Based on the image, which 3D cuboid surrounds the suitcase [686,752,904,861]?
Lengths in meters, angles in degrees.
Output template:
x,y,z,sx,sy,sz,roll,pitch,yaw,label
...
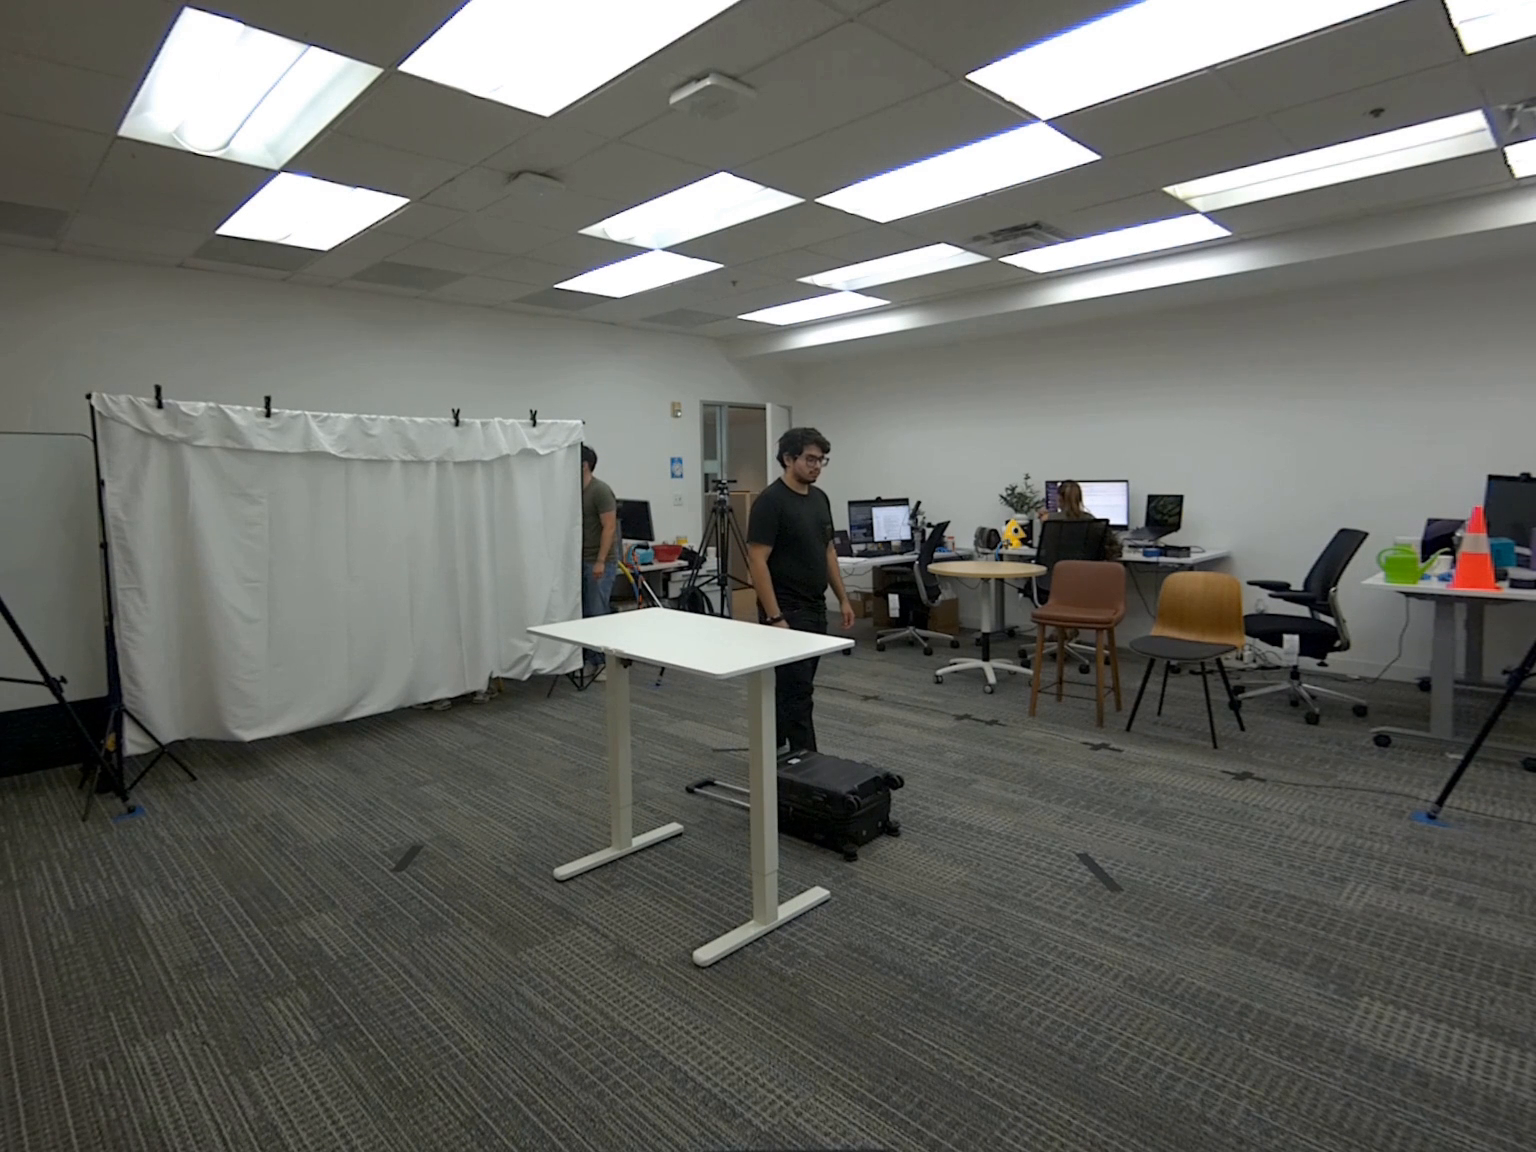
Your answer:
x,y,z,sx,sy,sz,roll,pitch,yaw,label
0.060,0.868,3.565,1.009,0.255,0.374,6,10,41,suitcase
